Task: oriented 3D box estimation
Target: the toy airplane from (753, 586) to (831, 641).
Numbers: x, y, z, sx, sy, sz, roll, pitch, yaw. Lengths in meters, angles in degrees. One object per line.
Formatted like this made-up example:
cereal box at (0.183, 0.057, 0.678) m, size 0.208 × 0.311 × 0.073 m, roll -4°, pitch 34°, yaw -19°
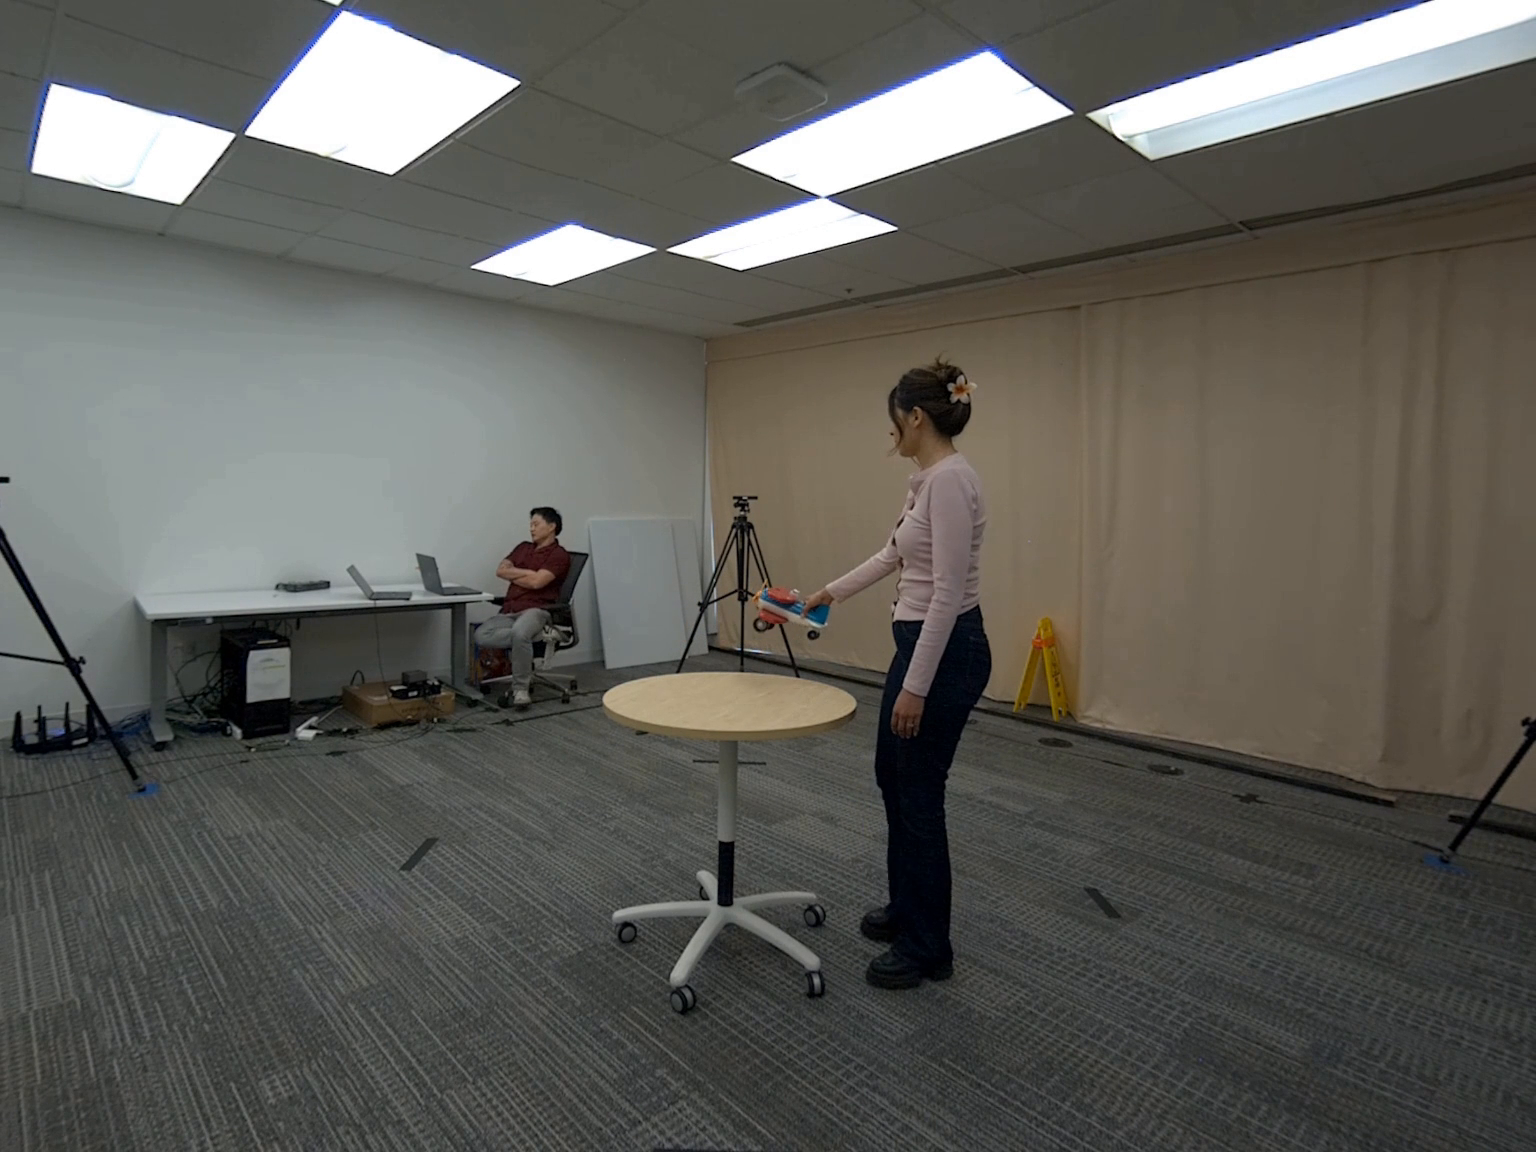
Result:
toy airplane at (0.073, 0.126, 2.906) m, size 0.256 × 0.156 × 0.254 m, roll 6°, pitch 5°, yaw -12°
